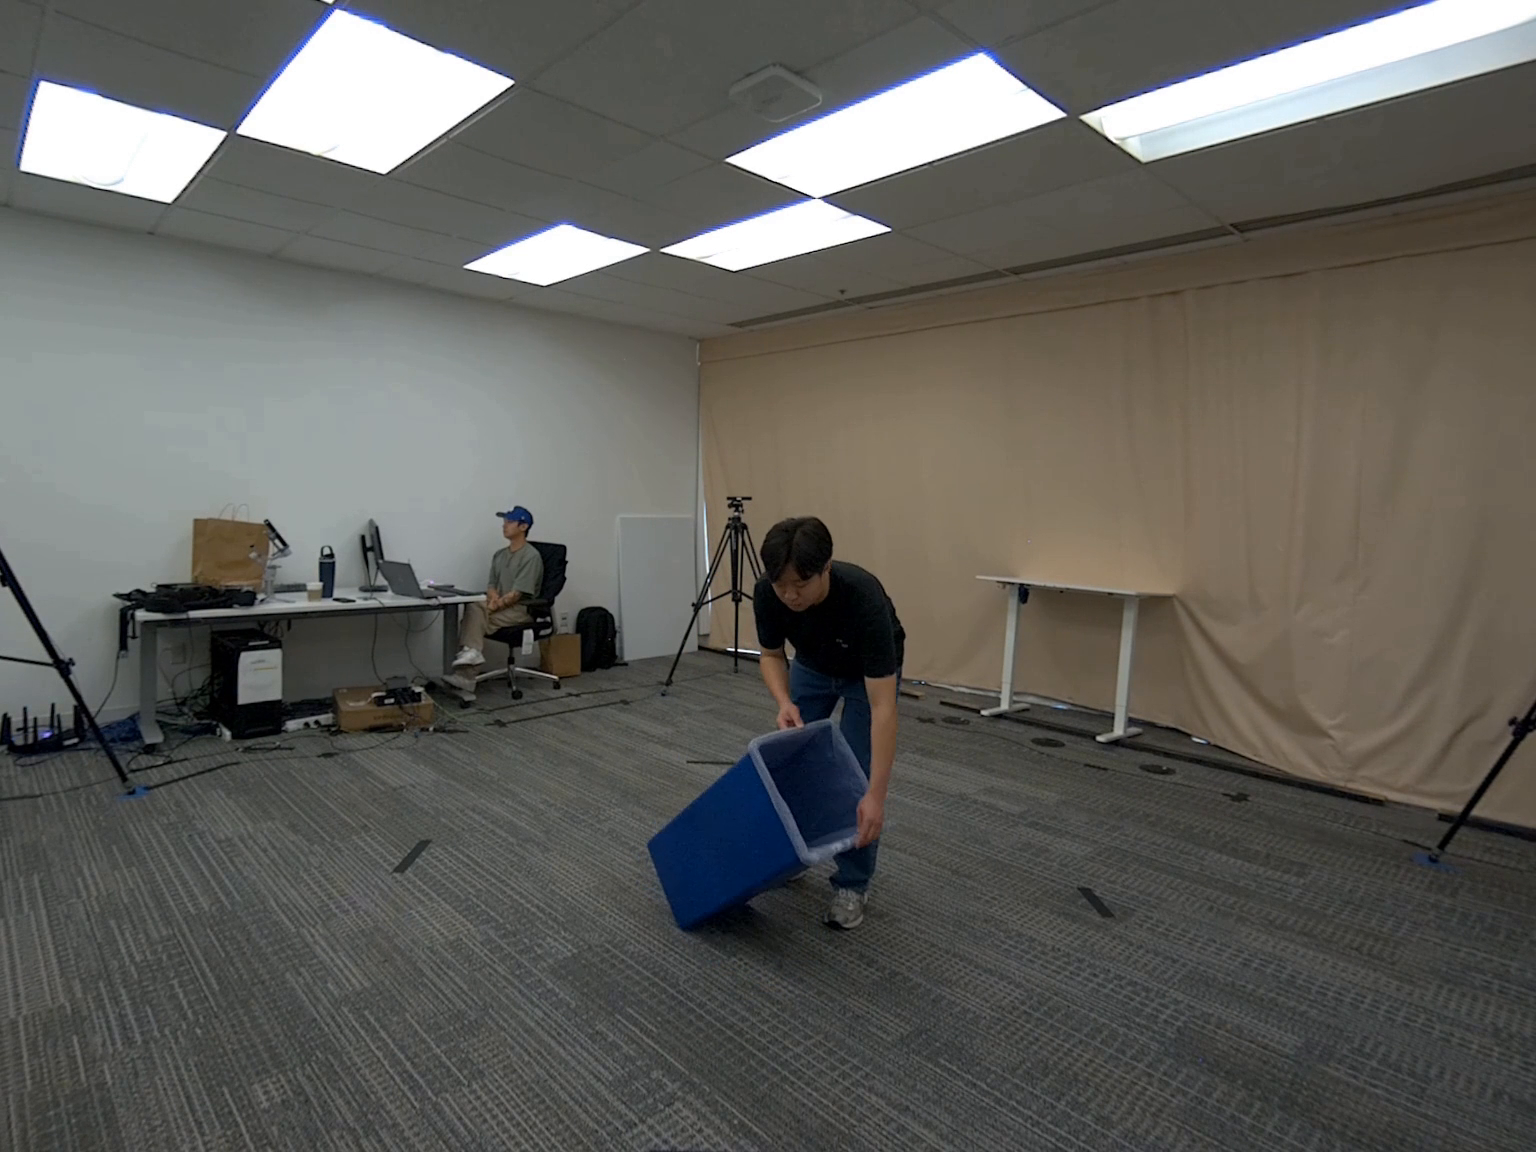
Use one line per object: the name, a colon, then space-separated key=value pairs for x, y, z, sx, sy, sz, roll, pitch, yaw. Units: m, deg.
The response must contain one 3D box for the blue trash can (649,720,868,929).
blue trash can: x=-0.052 y=0.806 z=2.638 sx=0.369 sy=0.382 sz=0.714 roll=-2 pitch=-33 yaw=-45
